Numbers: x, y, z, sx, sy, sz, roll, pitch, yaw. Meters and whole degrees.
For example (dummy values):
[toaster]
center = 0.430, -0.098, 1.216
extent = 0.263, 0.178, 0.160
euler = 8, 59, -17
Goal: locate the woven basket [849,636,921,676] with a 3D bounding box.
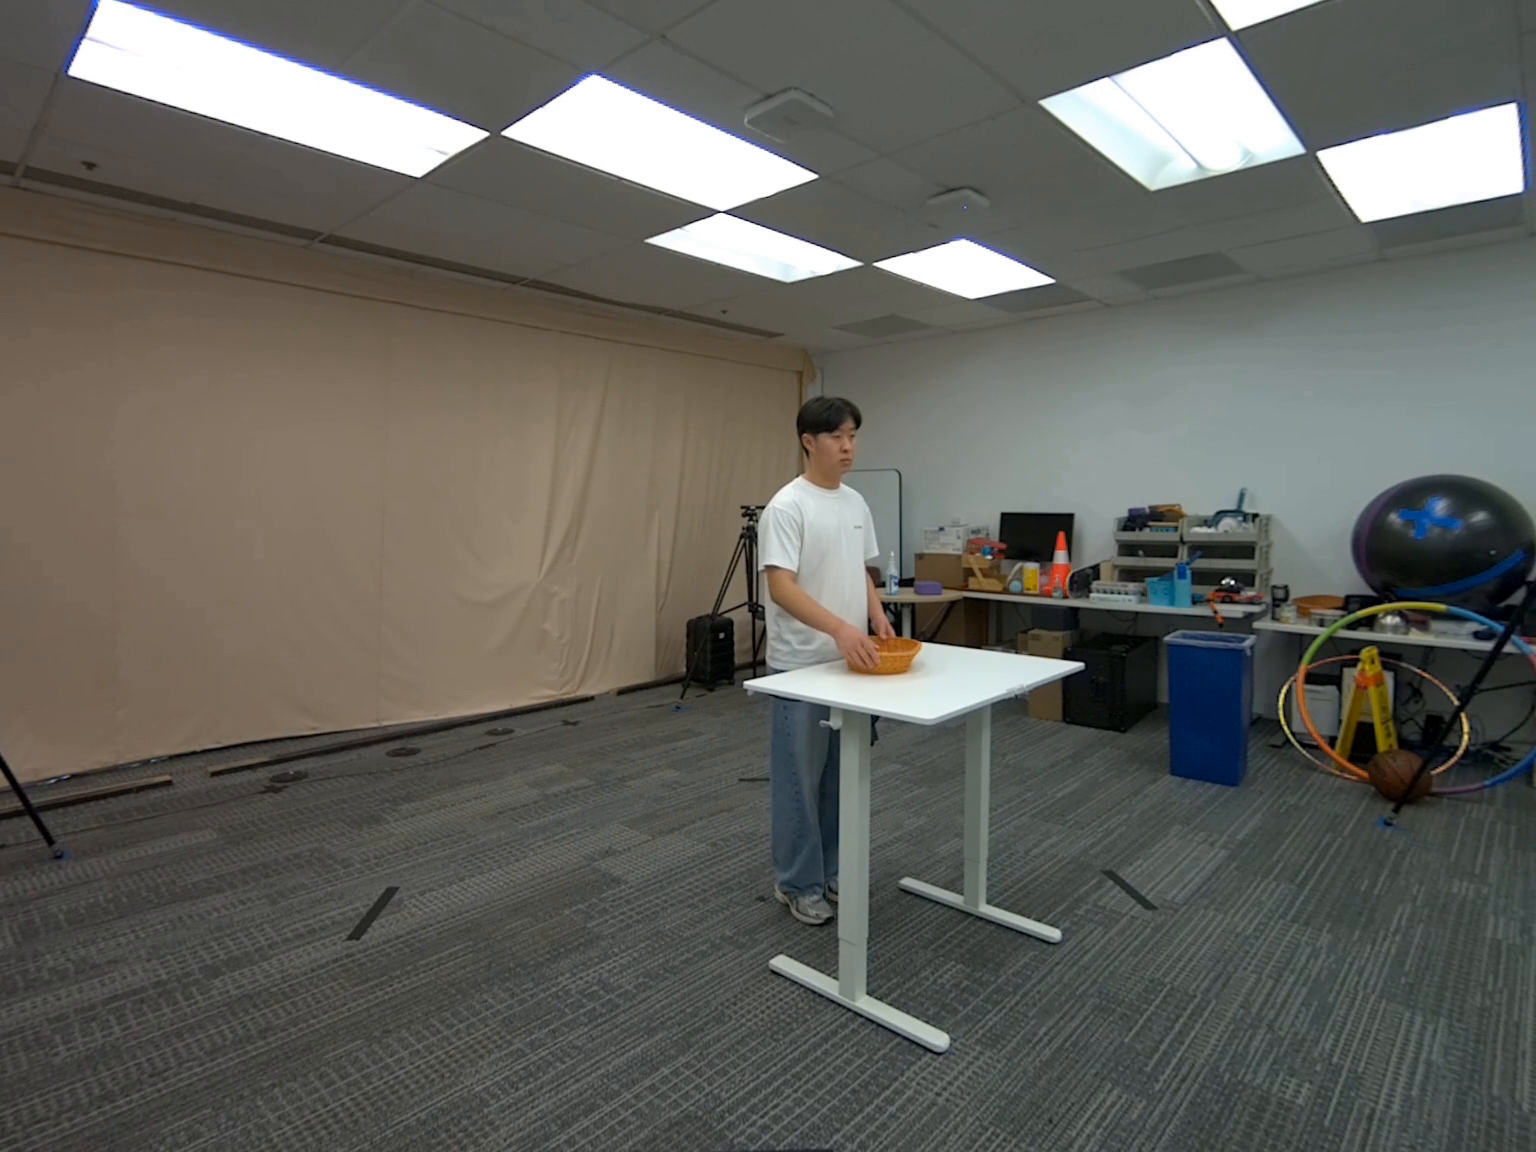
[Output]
[woven basket]
center = 0.360, 0.251, 2.663
extent = 0.258, 0.073, 0.343
euler = 1, 5, 22
